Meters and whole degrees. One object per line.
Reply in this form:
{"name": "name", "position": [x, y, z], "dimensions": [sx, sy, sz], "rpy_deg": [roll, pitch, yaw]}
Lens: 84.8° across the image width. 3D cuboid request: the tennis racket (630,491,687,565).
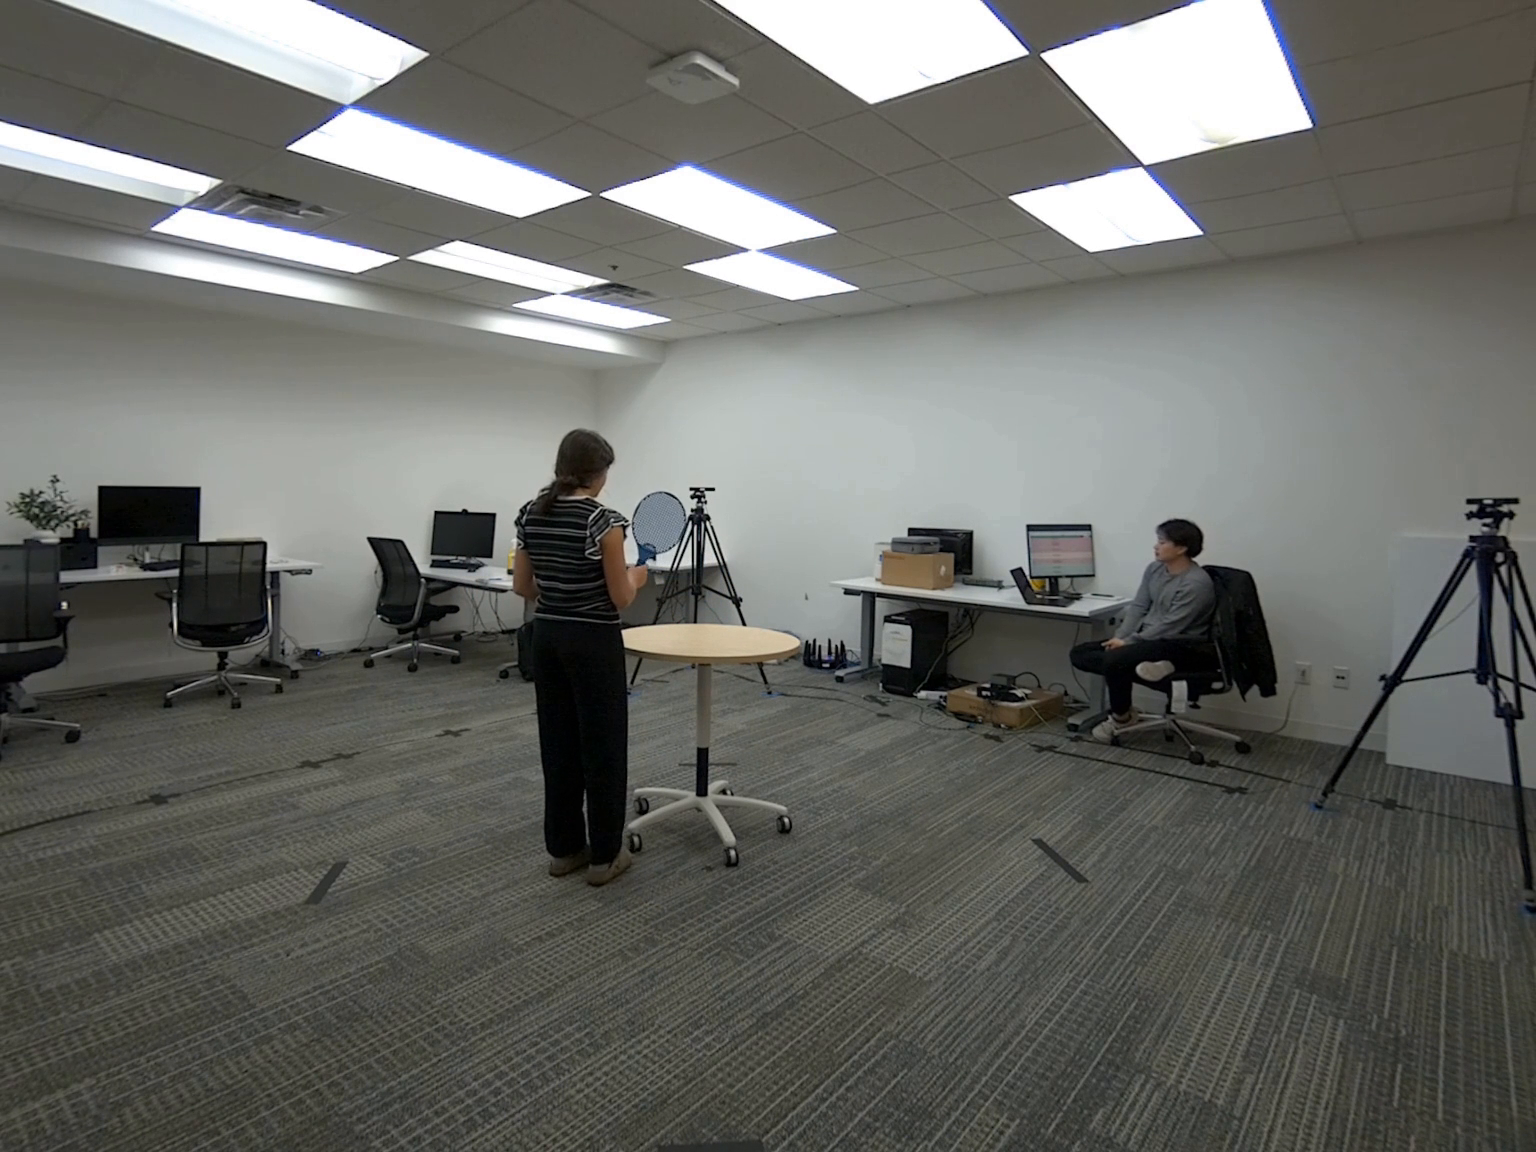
{"name": "tennis racket", "position": [-0.461, -0.140, 3.308], "dimensions": [0.209, 0.437, 0.032], "rpy_deg": [29, -25, -15]}
